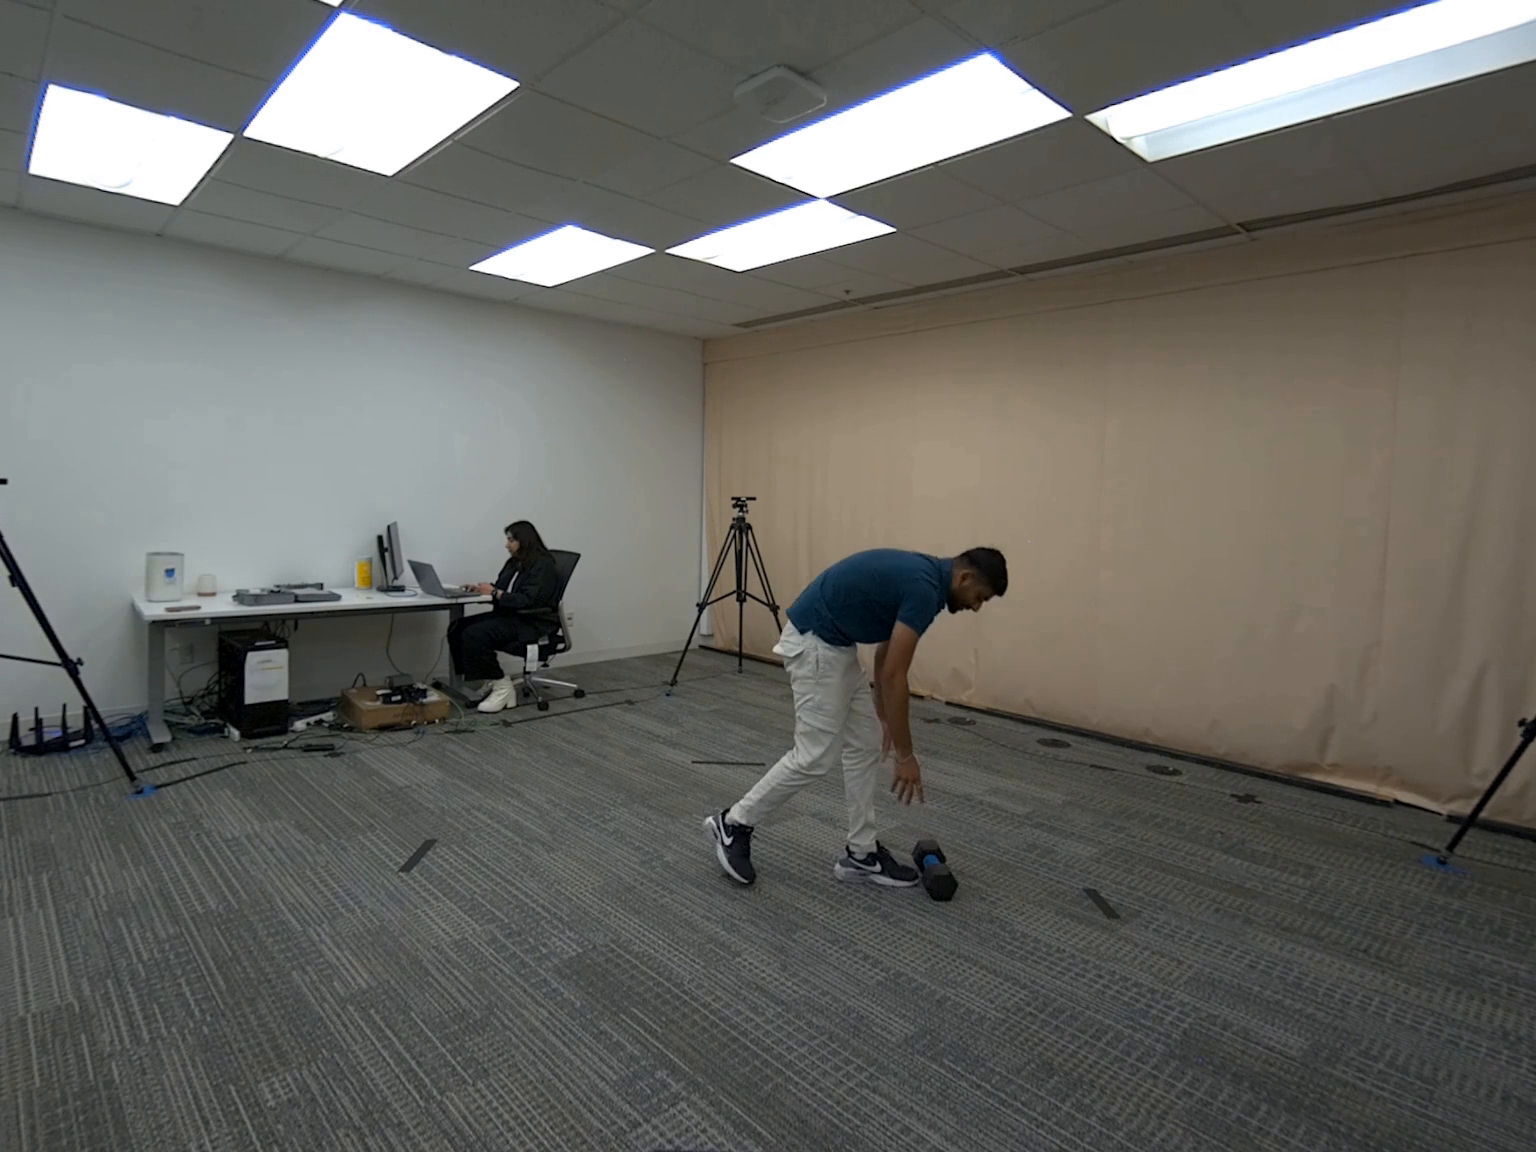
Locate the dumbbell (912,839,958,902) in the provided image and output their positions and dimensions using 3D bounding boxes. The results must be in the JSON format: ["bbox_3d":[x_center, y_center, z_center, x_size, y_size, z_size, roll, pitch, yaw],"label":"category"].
[{"bbox_3d":[0.592,1.077,3.080,0.109,0.122,0.294,-31,4,3],"label":"dumbbell"}]
